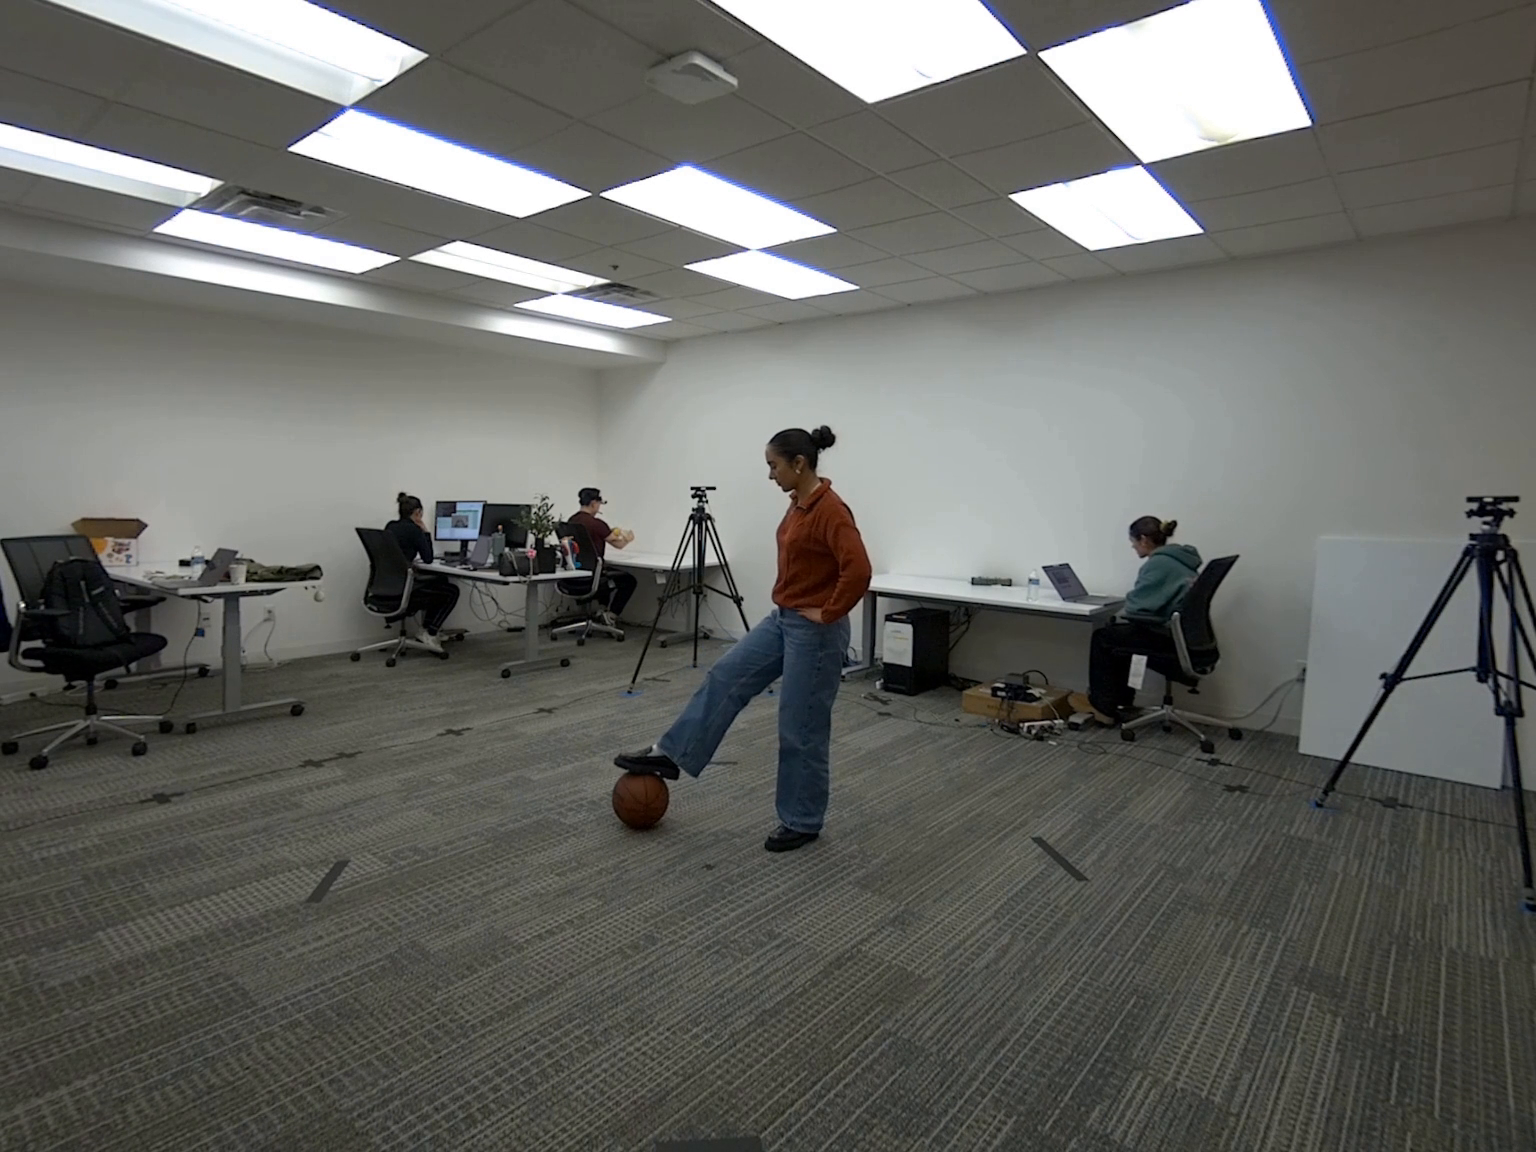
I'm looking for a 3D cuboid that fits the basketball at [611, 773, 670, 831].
[{"bbox_3d":[-0.532,0.906,3.493,0.235,0.235,0.237,1,4,-2],"label":"basketball"}]
